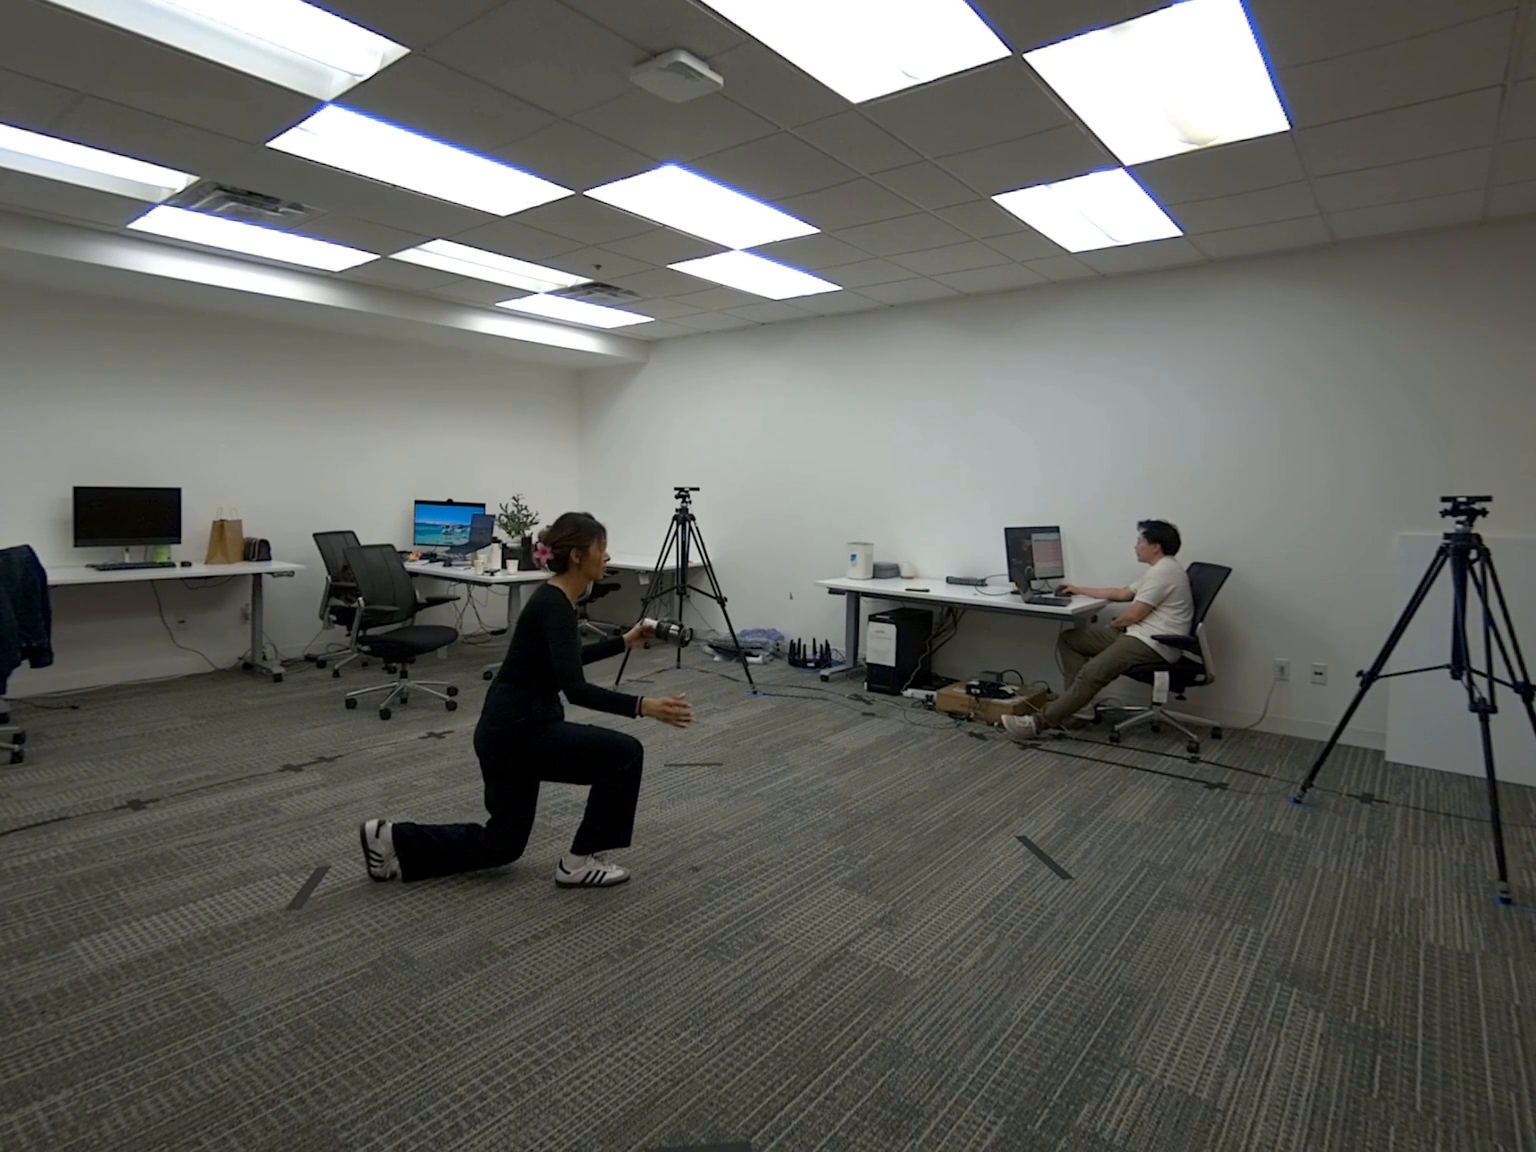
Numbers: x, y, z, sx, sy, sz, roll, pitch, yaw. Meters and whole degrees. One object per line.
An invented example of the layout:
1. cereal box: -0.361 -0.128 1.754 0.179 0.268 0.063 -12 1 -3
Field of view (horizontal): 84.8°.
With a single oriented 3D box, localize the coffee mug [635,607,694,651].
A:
1. coffee mug: -0.421 0.211 3.360 0.209 0.122 0.085 14 -2 23
